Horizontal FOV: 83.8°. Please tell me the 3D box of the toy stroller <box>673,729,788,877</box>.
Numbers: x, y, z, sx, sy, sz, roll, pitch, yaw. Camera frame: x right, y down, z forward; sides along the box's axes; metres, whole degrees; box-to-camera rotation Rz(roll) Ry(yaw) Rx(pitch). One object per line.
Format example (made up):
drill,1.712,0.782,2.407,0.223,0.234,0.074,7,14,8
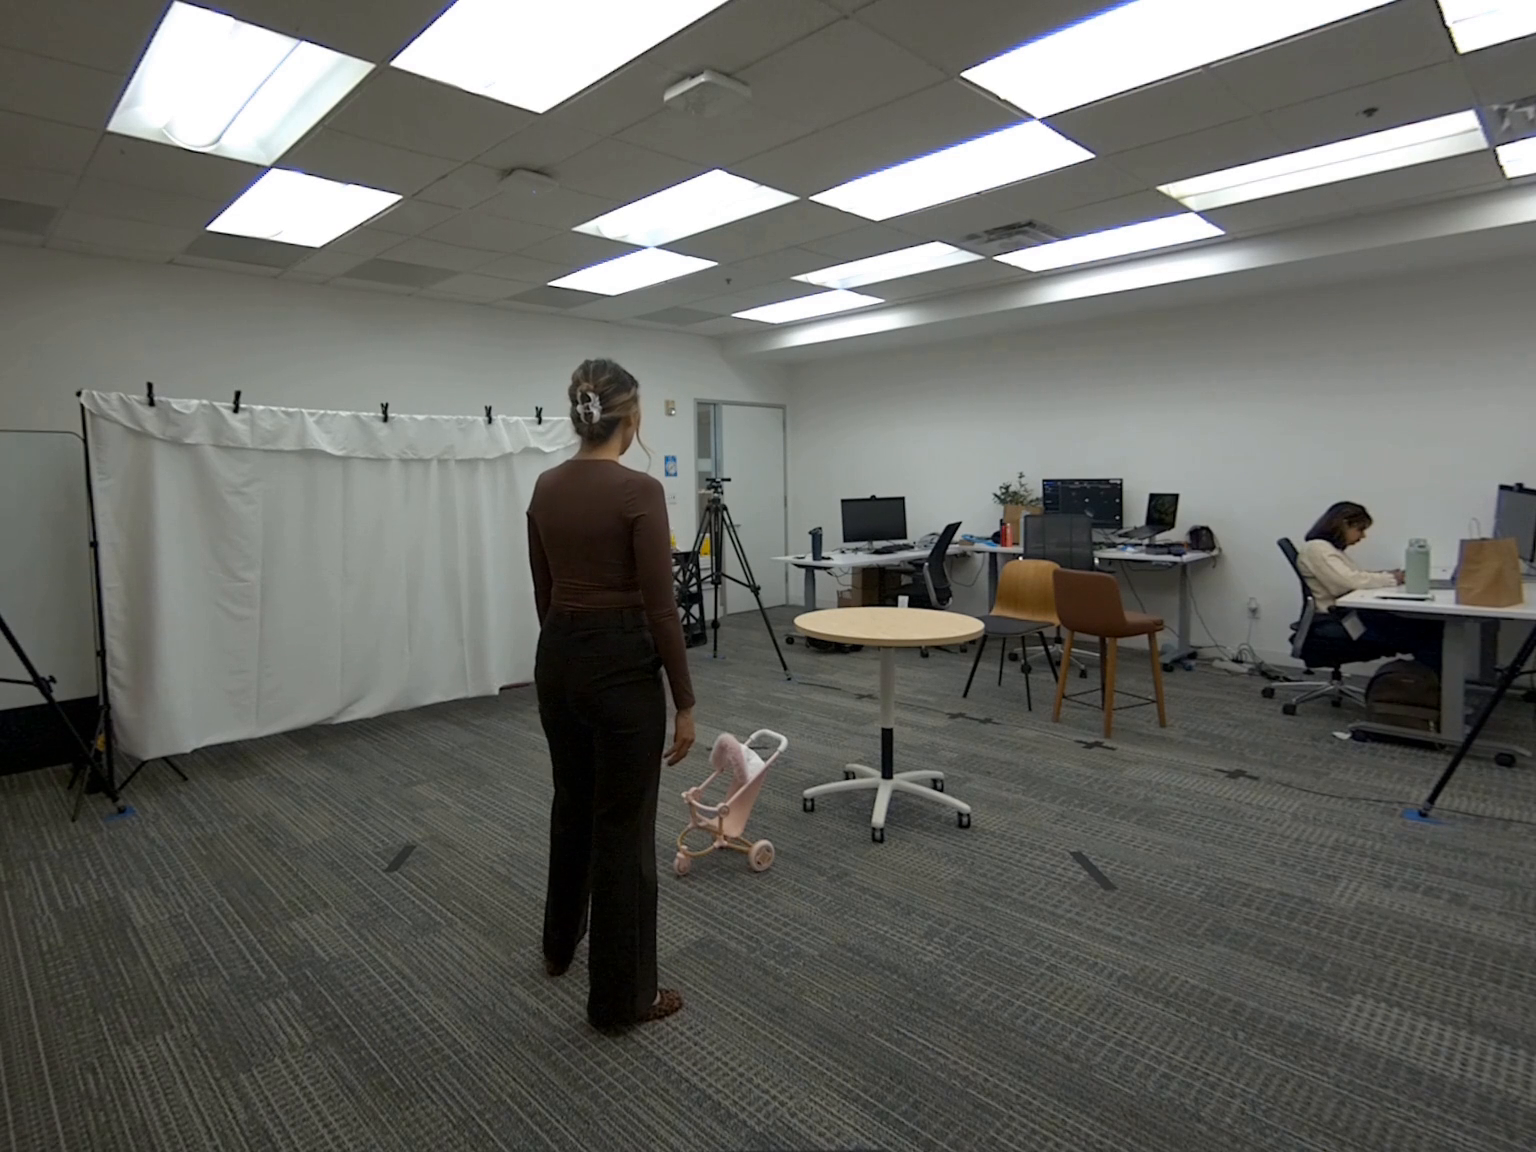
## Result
toy stroller,-0.150,0.816,3.101,0.331,0.536,0.289,14,-4,-29
